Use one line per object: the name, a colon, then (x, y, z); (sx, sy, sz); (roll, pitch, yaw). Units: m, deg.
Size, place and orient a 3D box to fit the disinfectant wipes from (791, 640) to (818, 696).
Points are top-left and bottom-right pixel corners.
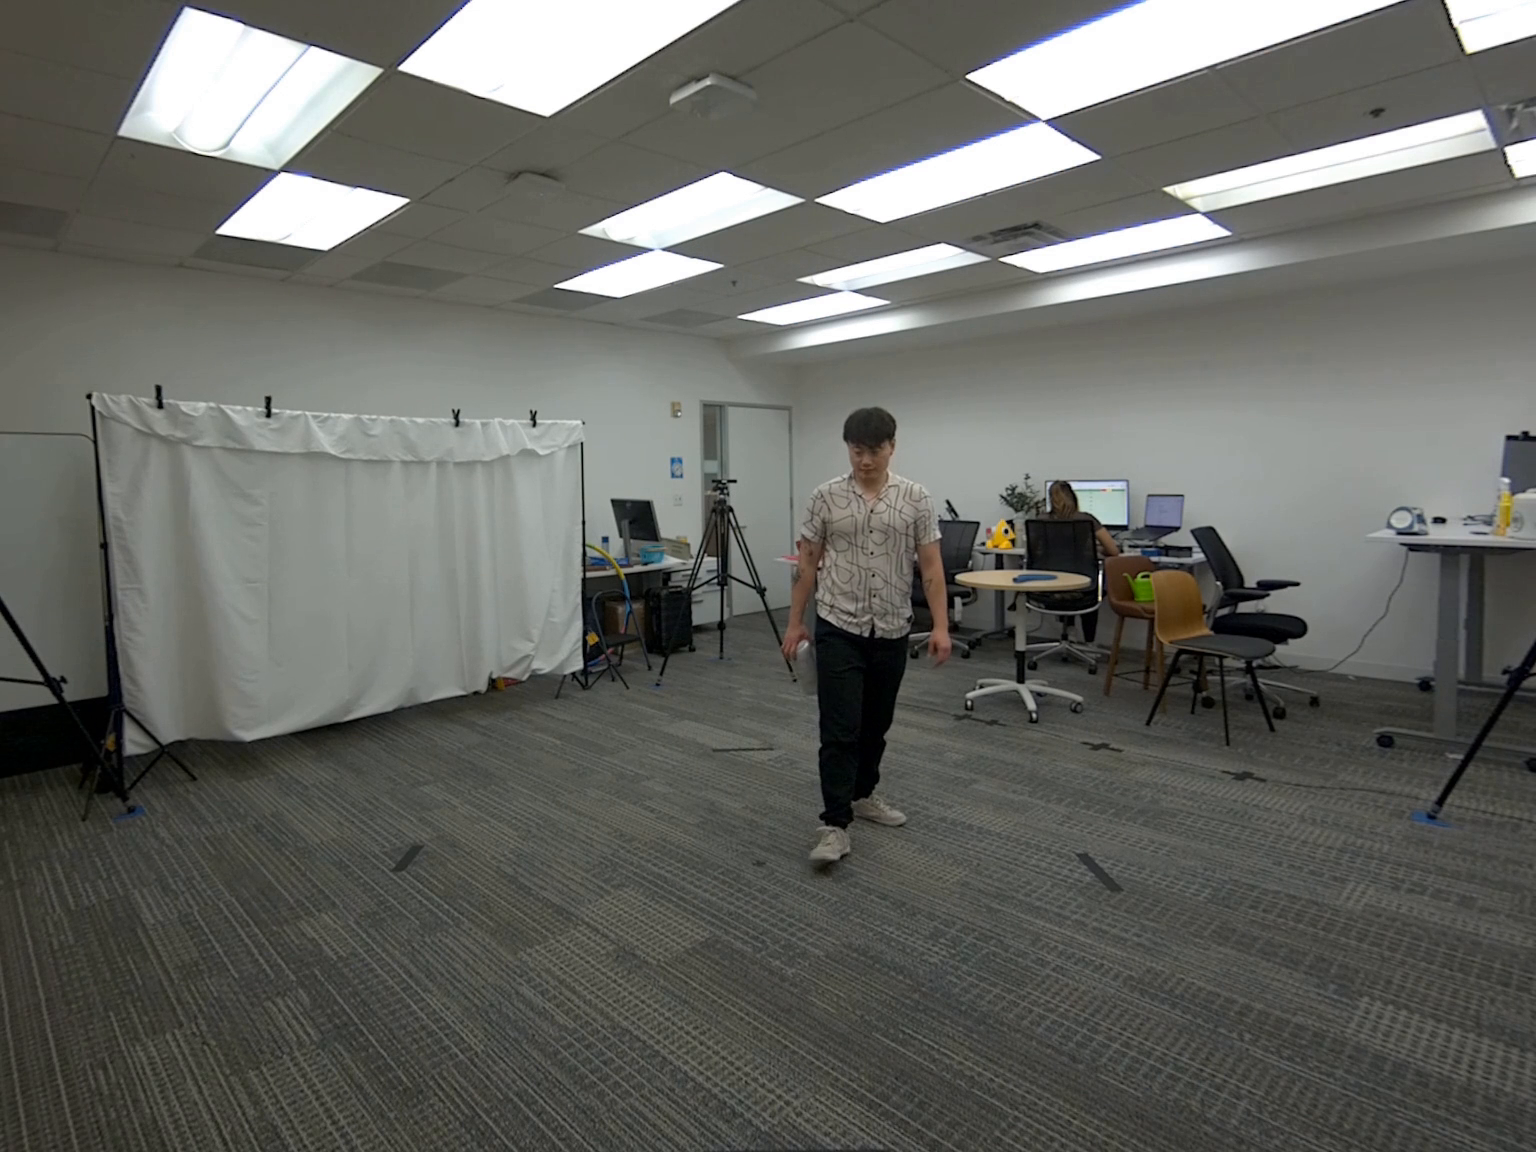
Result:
disinfectant wipes: (0.158, 0.372, 3.419); (0.118, 0.213, 0.120); (-20, 17, 5)
